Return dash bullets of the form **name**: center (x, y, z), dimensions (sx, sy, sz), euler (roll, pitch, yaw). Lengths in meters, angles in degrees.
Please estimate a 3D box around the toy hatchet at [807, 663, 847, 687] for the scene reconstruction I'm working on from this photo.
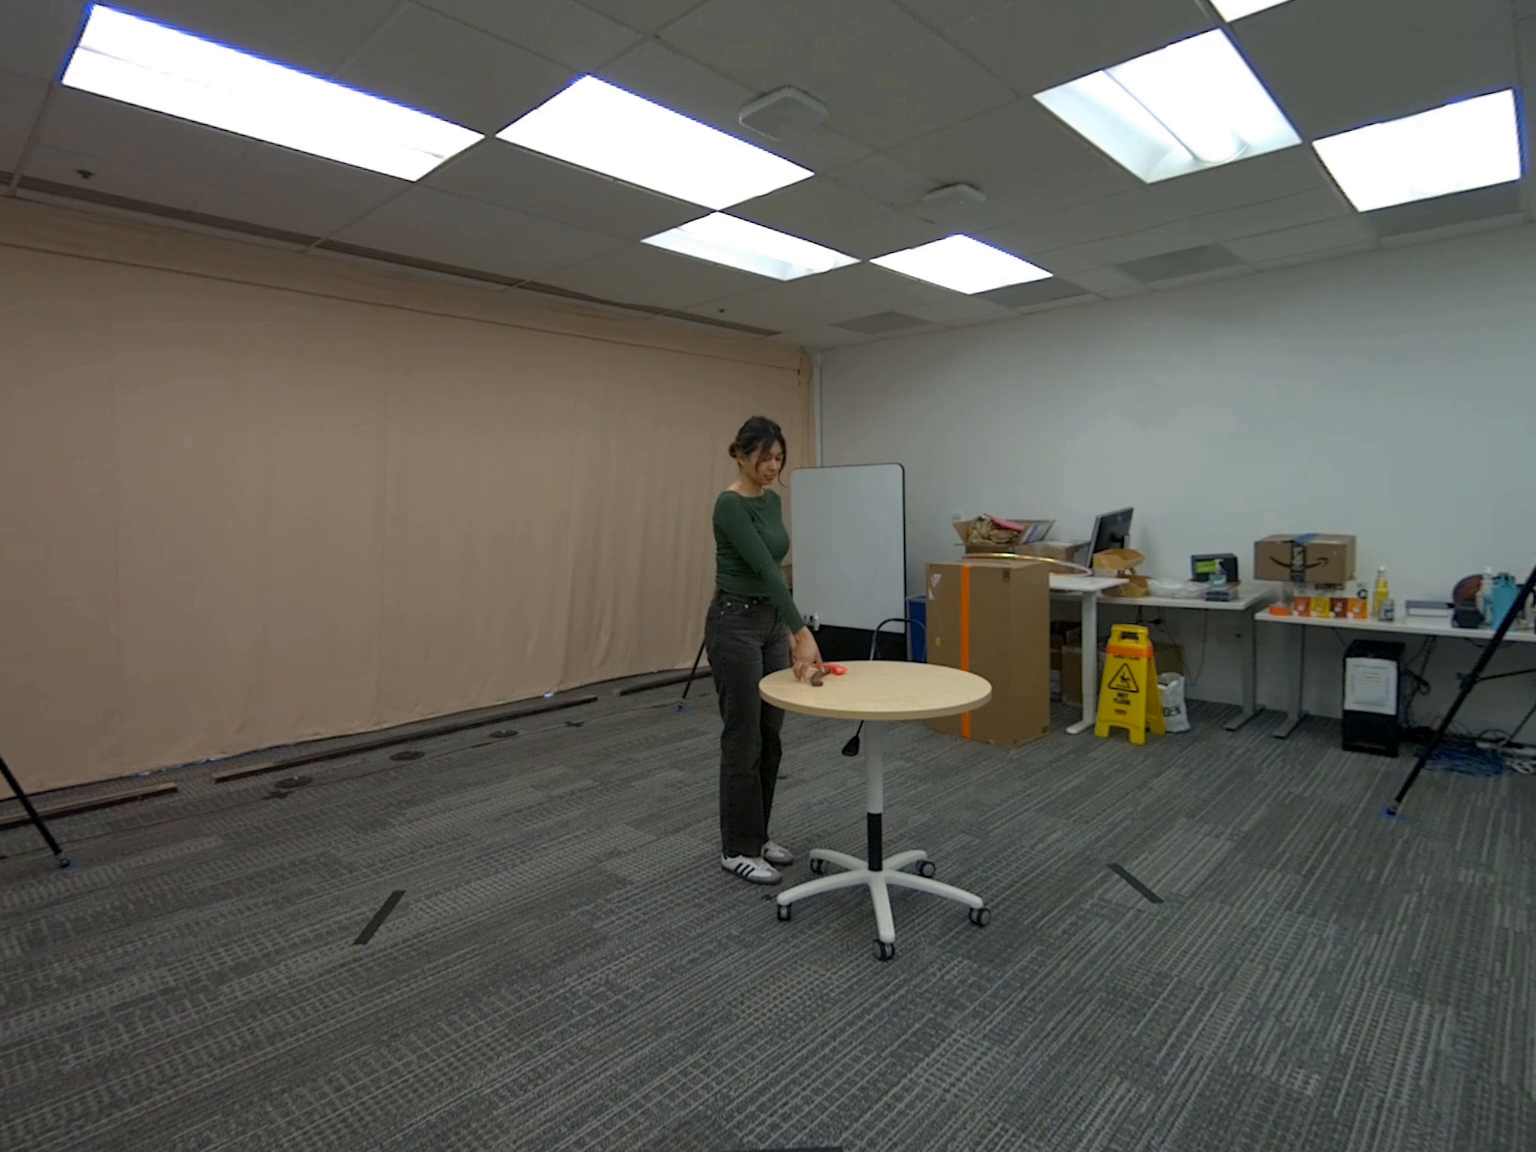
- **toy hatchet**: center (0.219, 0.346, 2.942), dimensions (0.132, 0.029, 0.269), euler (2, 6, 4)
